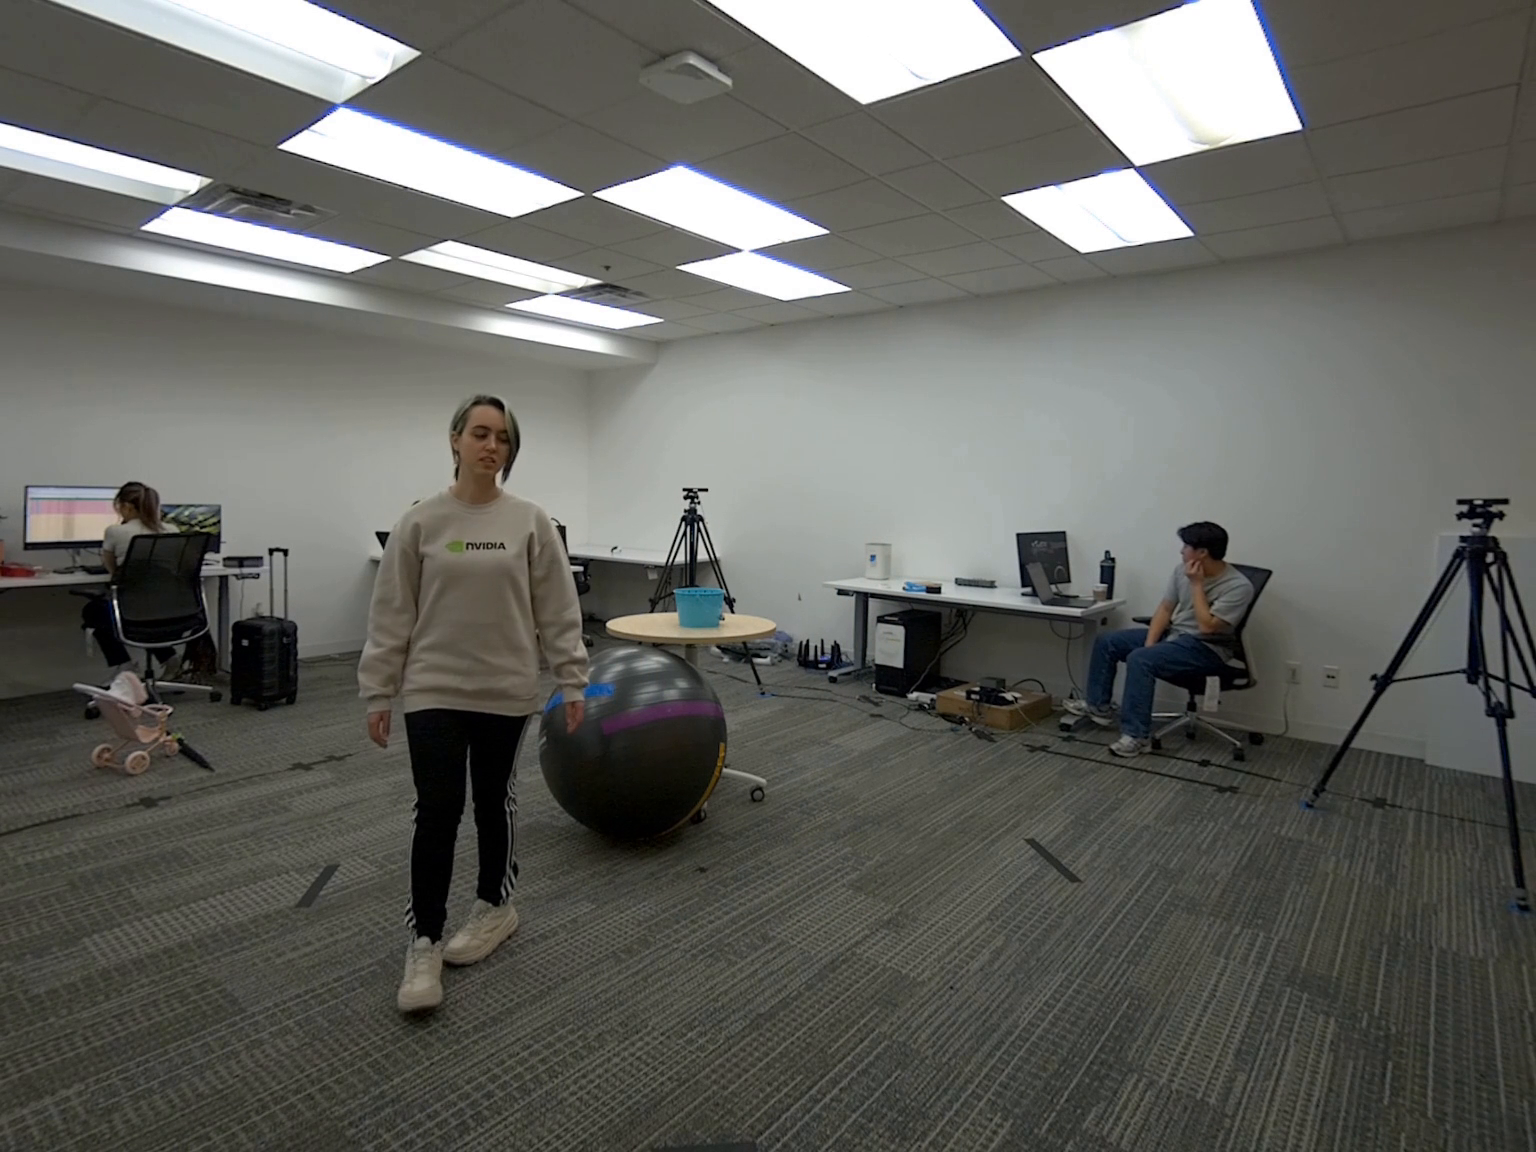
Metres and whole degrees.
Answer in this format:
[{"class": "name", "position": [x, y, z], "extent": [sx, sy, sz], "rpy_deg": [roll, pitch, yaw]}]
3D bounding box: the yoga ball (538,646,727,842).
[{"class": "yoga ball", "position": [-0.563, 0.662, 3.439], "extent": [0.757, 0.756, 0.762], "rpy_deg": [1, 4, -2]}]
